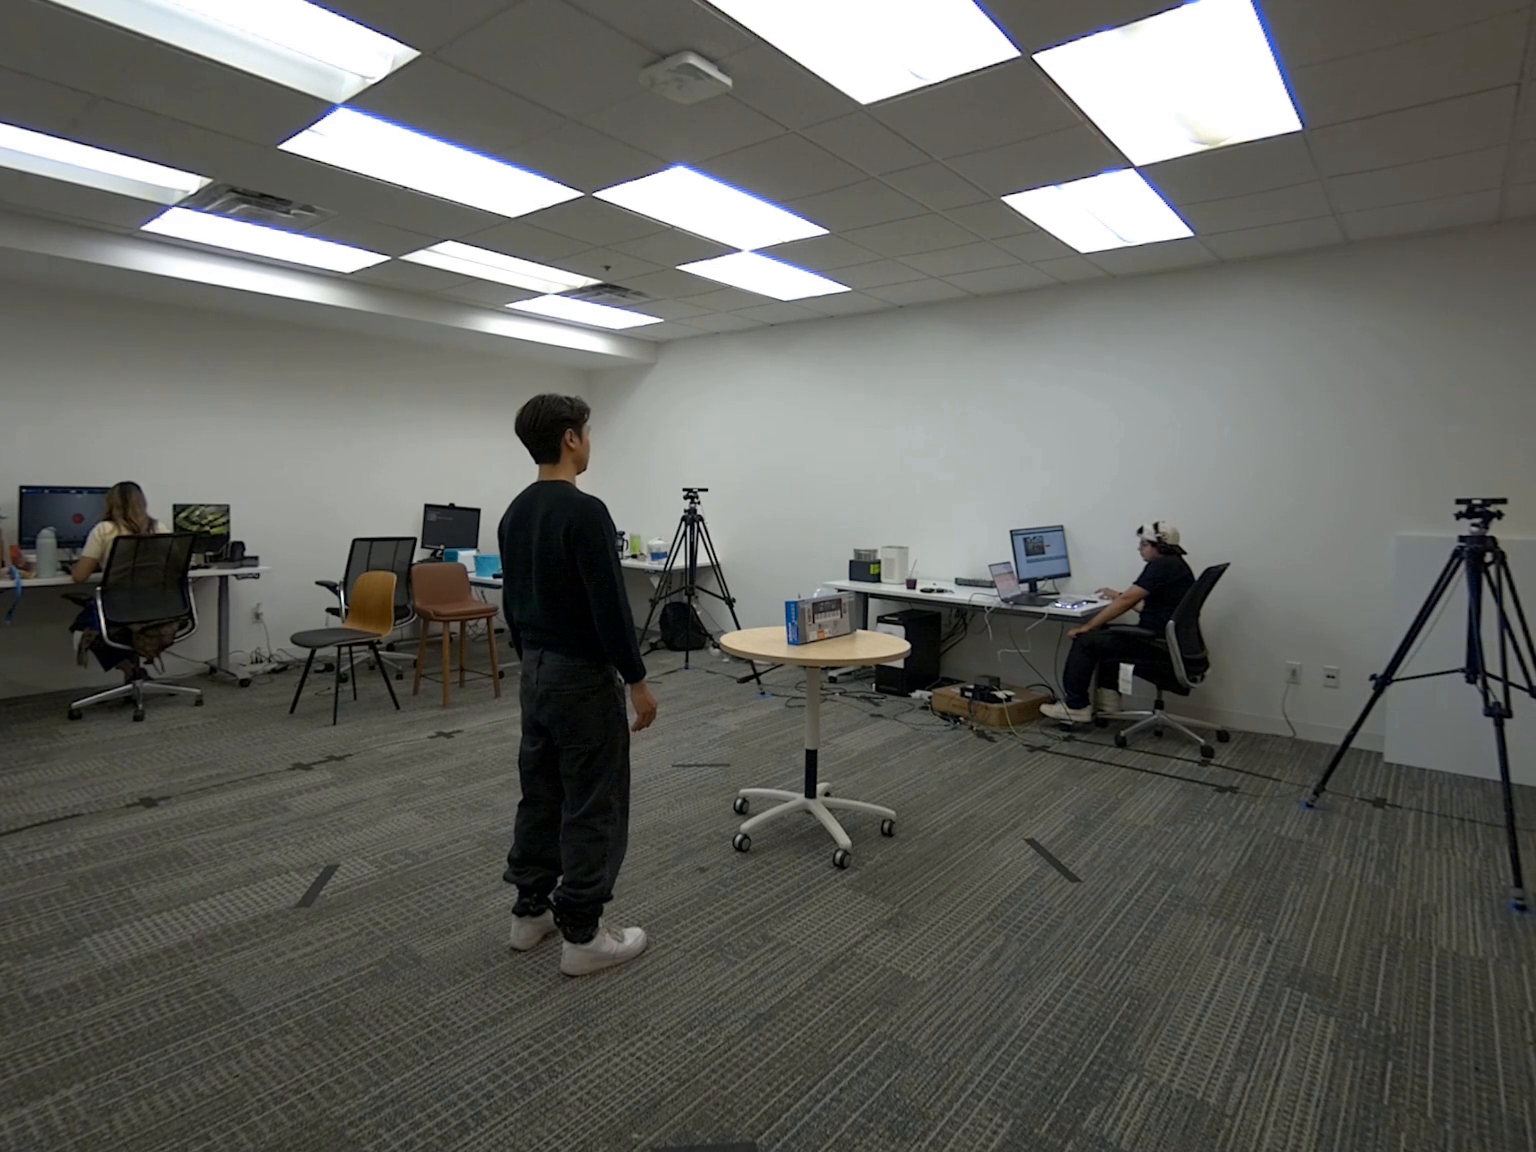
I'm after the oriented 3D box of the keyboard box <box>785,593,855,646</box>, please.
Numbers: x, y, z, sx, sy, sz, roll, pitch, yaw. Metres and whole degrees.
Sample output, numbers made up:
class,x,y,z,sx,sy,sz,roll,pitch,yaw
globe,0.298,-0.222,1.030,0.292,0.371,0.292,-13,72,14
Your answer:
class,x,y,z,sx,sy,sz,roll,pitch,yaw
keyboard box,0.216,0.168,3.519,0.061,0.176,0.424,-3,2,39
